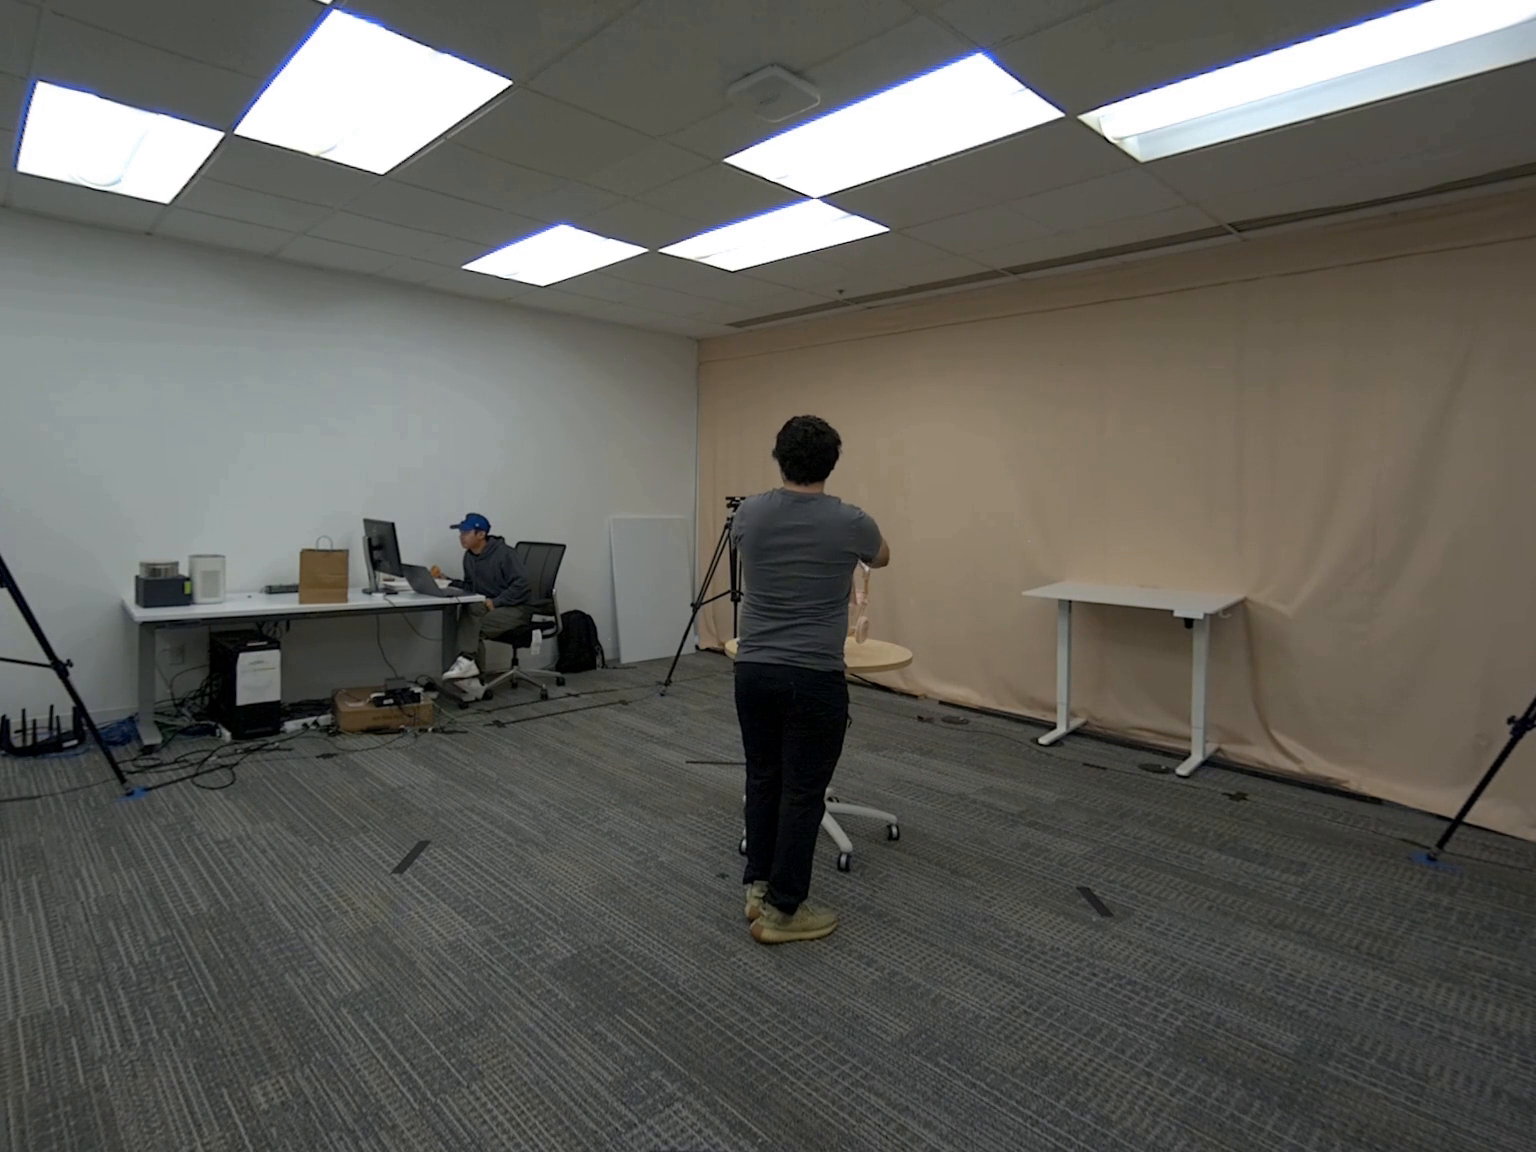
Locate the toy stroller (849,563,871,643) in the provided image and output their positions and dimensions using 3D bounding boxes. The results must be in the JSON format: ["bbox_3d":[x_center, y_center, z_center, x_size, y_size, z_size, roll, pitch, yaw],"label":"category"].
[{"bbox_3d":[0.288,0.016,3.386,0.287,0.524,0.341,9,31,26],"label":"toy stroller"}]
